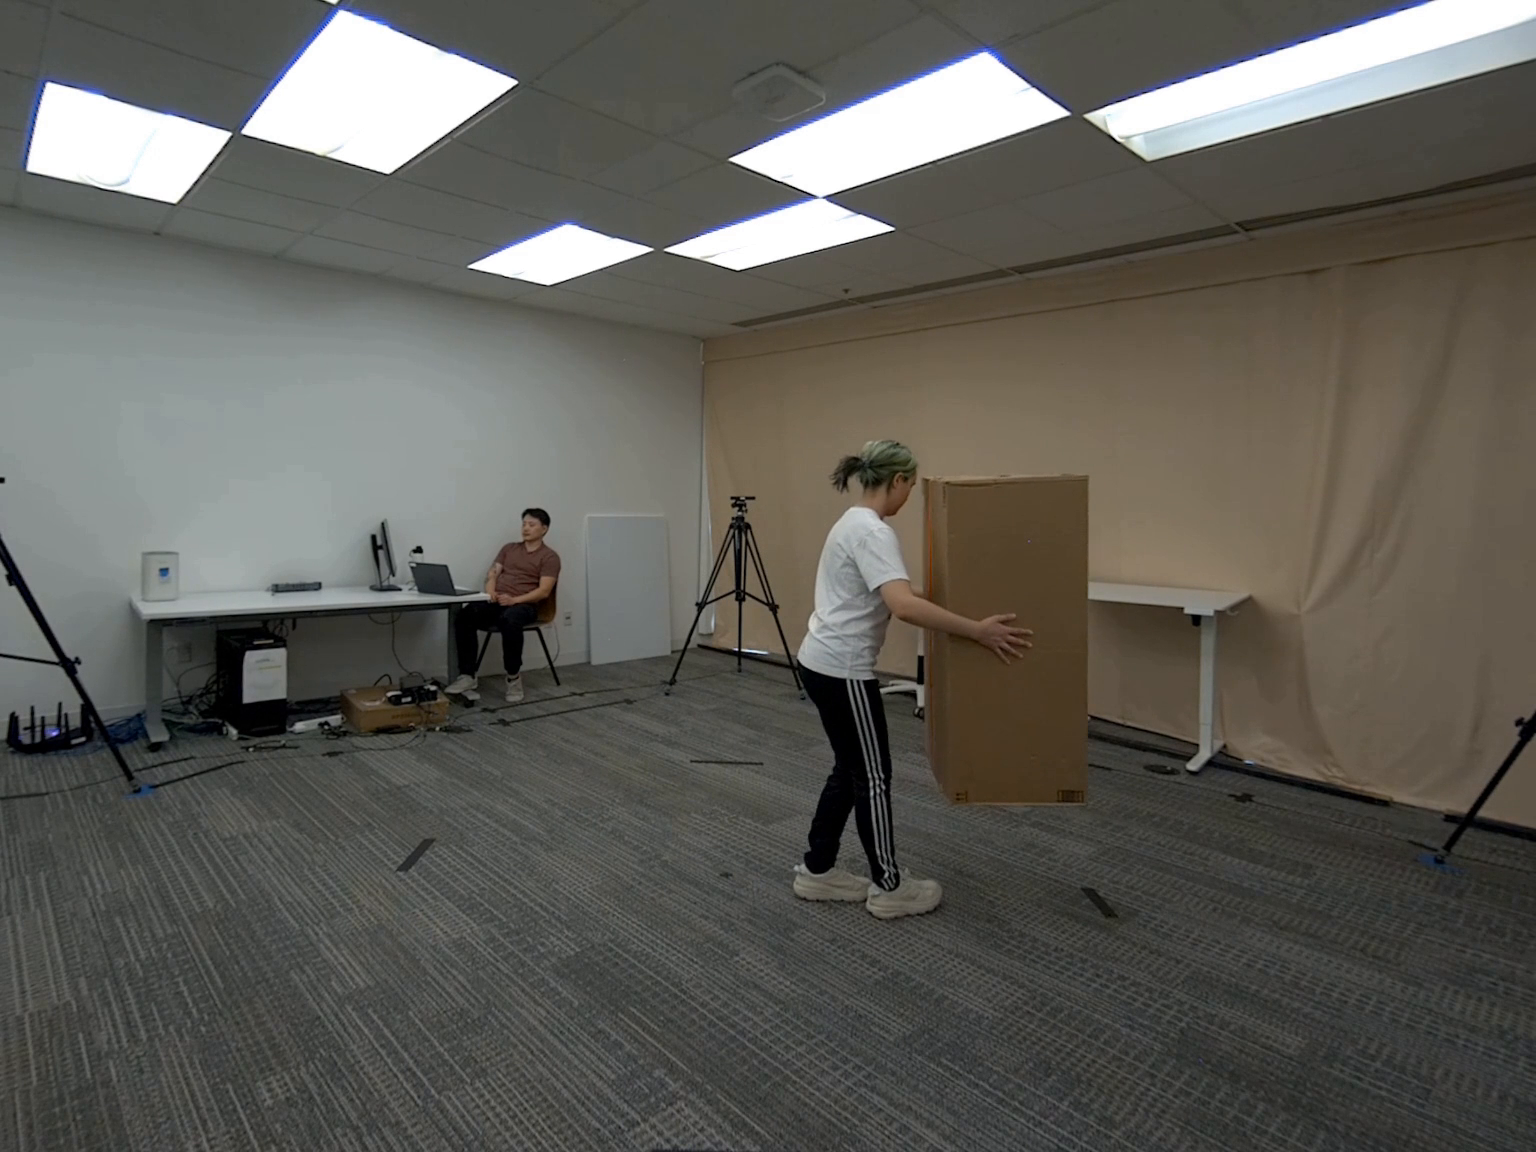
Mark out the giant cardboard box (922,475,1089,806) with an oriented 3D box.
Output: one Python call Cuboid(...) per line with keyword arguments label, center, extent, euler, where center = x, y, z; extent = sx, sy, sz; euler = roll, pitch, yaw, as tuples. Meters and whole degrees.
Cuboid(label="giant cardboard box", center=(0.770, 0.176, 2.852), extent=(0.448, 1.022, 0.585), euler=(-1, 6, 3))
